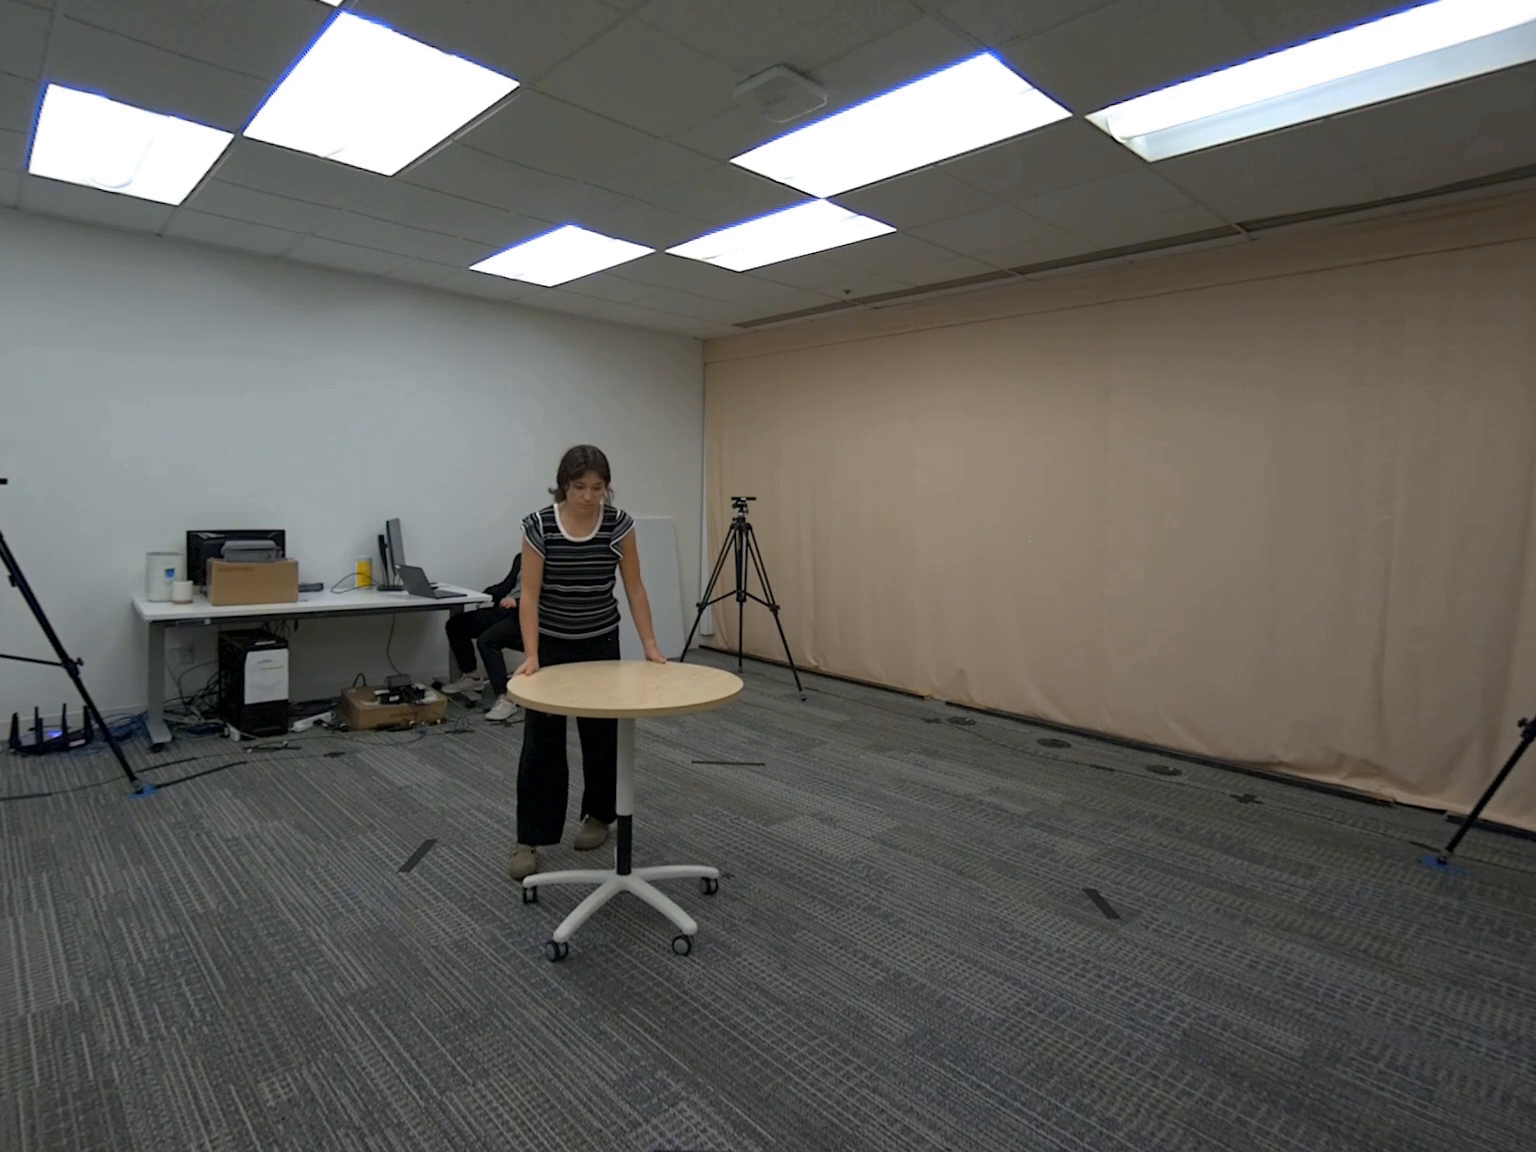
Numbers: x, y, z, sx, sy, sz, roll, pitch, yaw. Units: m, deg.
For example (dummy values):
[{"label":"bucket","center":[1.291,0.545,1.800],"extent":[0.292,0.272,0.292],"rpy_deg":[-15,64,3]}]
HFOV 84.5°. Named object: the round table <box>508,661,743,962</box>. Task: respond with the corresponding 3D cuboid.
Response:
[{"label":"round table","center":[-0.477,0.741,2.785],"extent":[0.763,0.792,0.766],"rpy_deg":[1,4,-1]}]
